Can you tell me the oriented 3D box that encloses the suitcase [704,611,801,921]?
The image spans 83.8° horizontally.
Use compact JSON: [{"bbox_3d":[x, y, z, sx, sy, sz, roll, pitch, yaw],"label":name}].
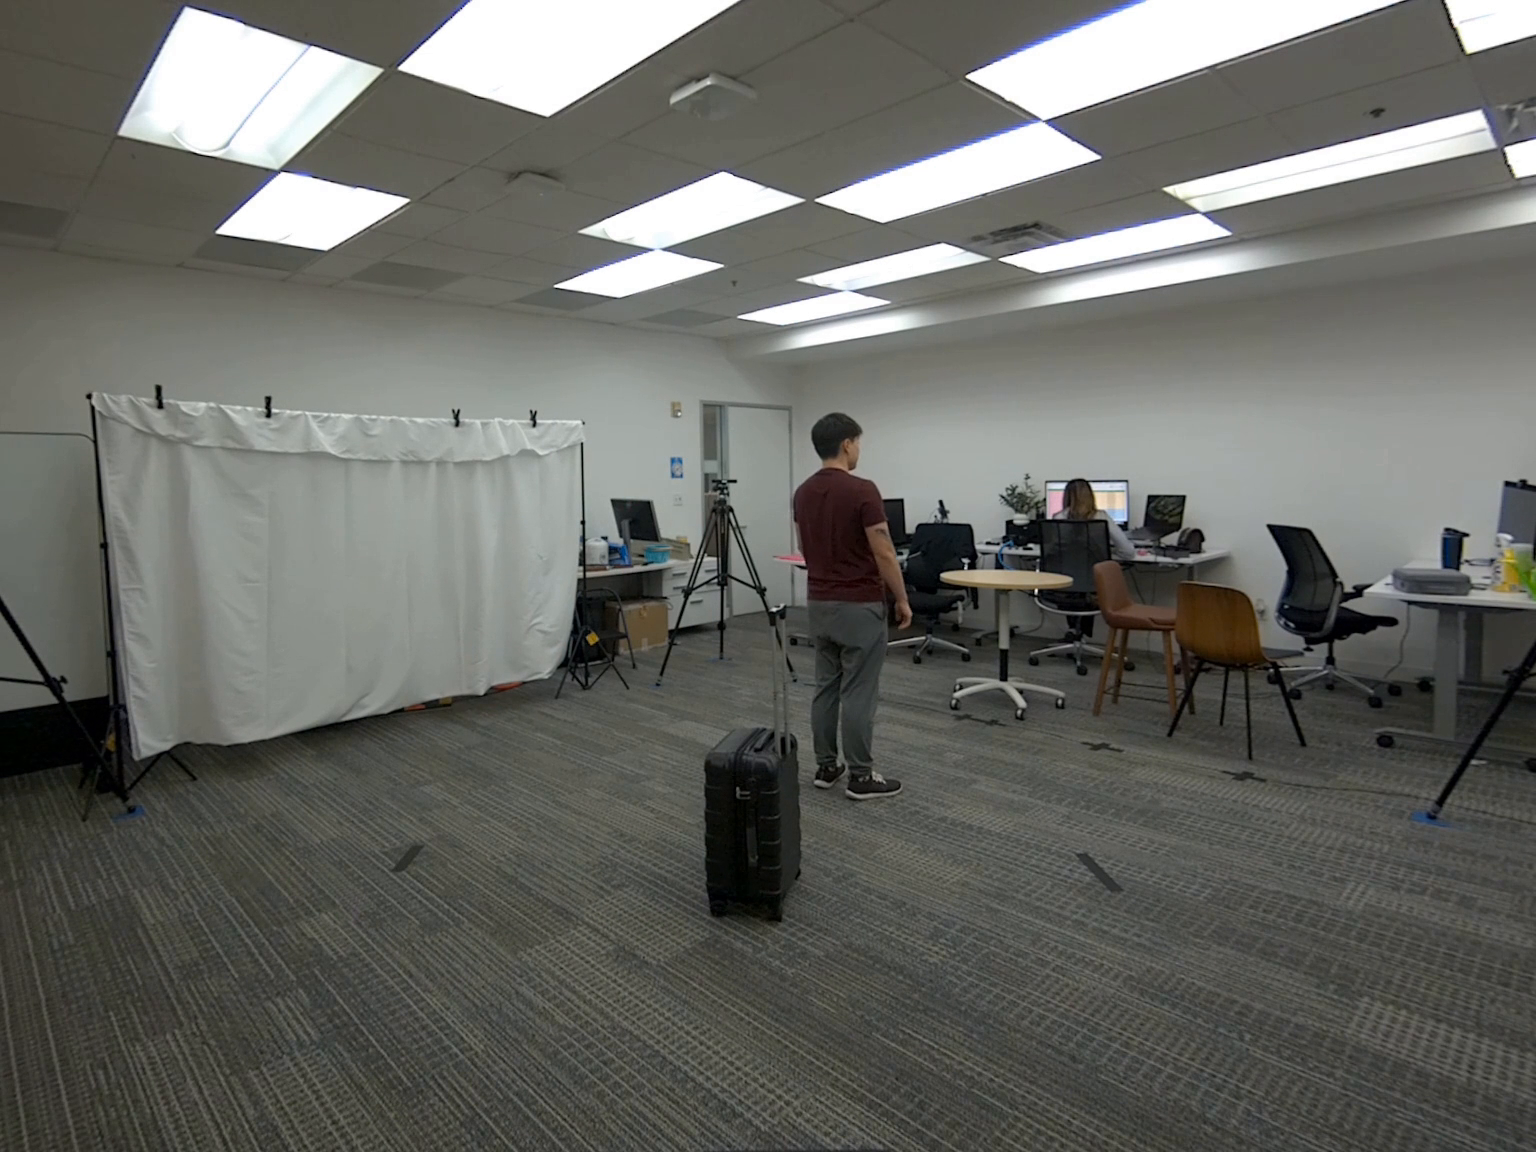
[{"bbox_3d":[-0.054,0.600,2.830,0.261,0.975,0.380,-2,4,15],"label":"suitcase"}]
